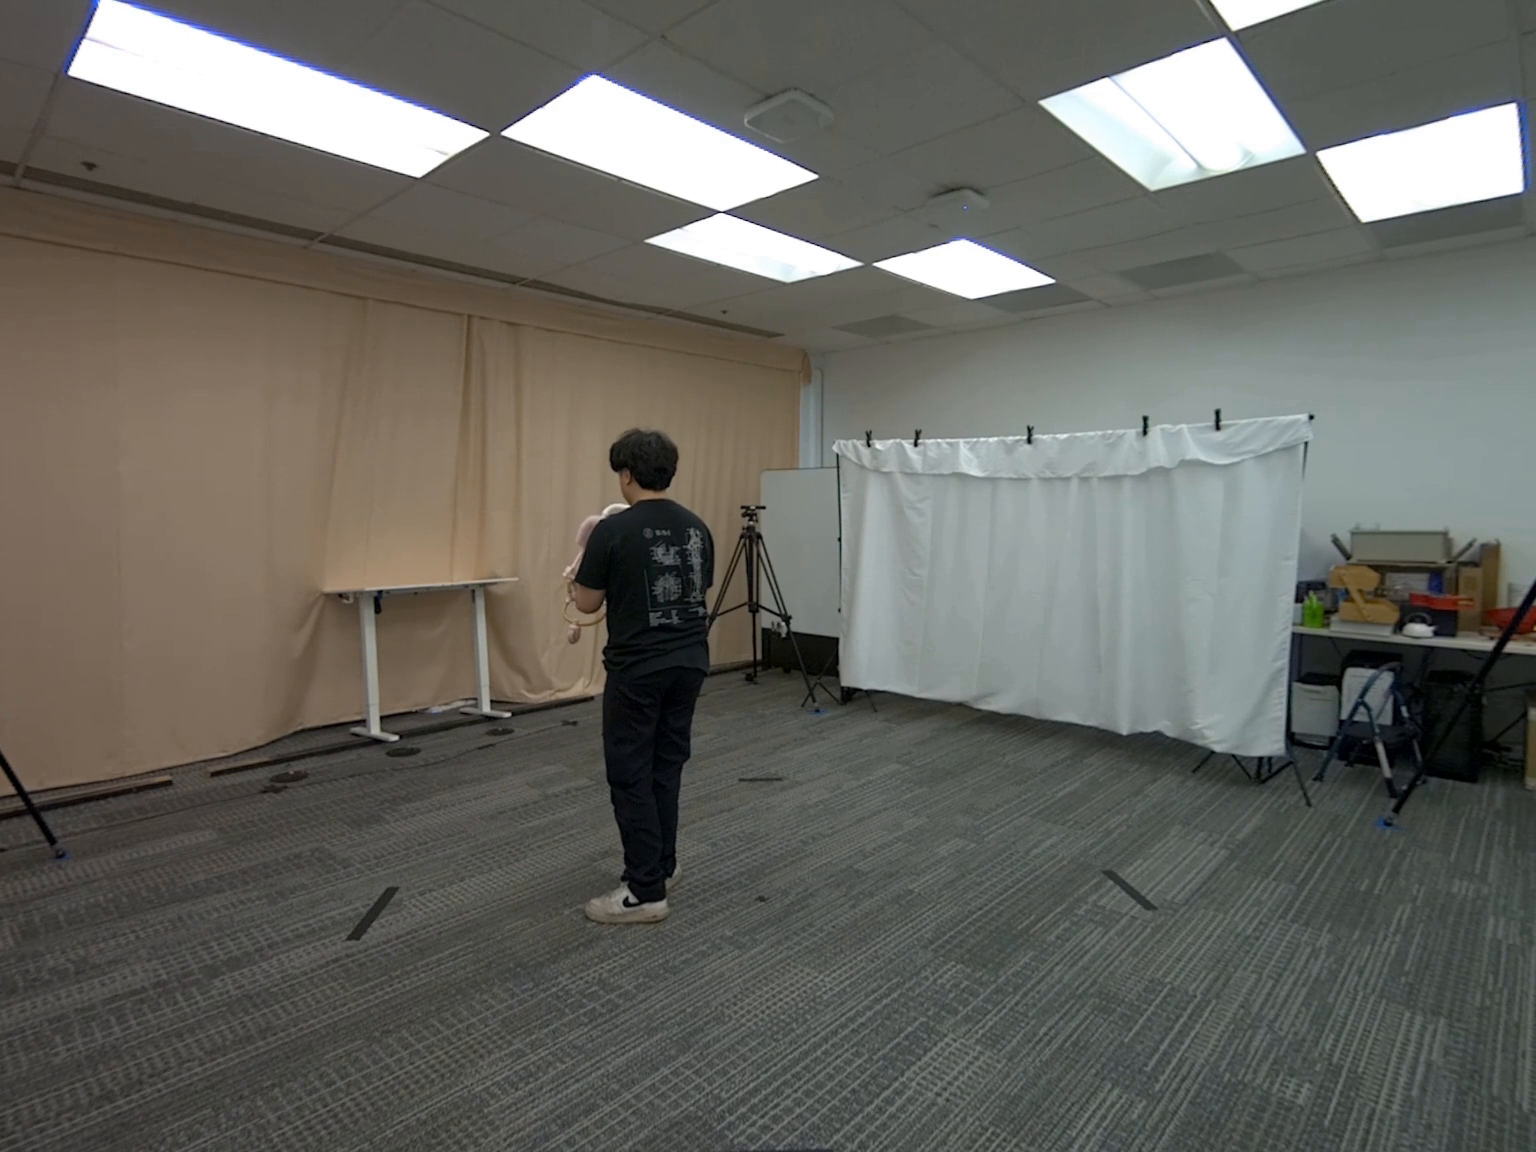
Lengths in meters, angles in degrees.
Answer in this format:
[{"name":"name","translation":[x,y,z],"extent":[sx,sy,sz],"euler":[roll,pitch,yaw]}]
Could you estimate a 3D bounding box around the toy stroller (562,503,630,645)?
[{"name":"toy stroller","translation":[-0.680,-0.008,3.385],"extent":[0.289,0.532,0.333],"euler":[14,12,25]}]
